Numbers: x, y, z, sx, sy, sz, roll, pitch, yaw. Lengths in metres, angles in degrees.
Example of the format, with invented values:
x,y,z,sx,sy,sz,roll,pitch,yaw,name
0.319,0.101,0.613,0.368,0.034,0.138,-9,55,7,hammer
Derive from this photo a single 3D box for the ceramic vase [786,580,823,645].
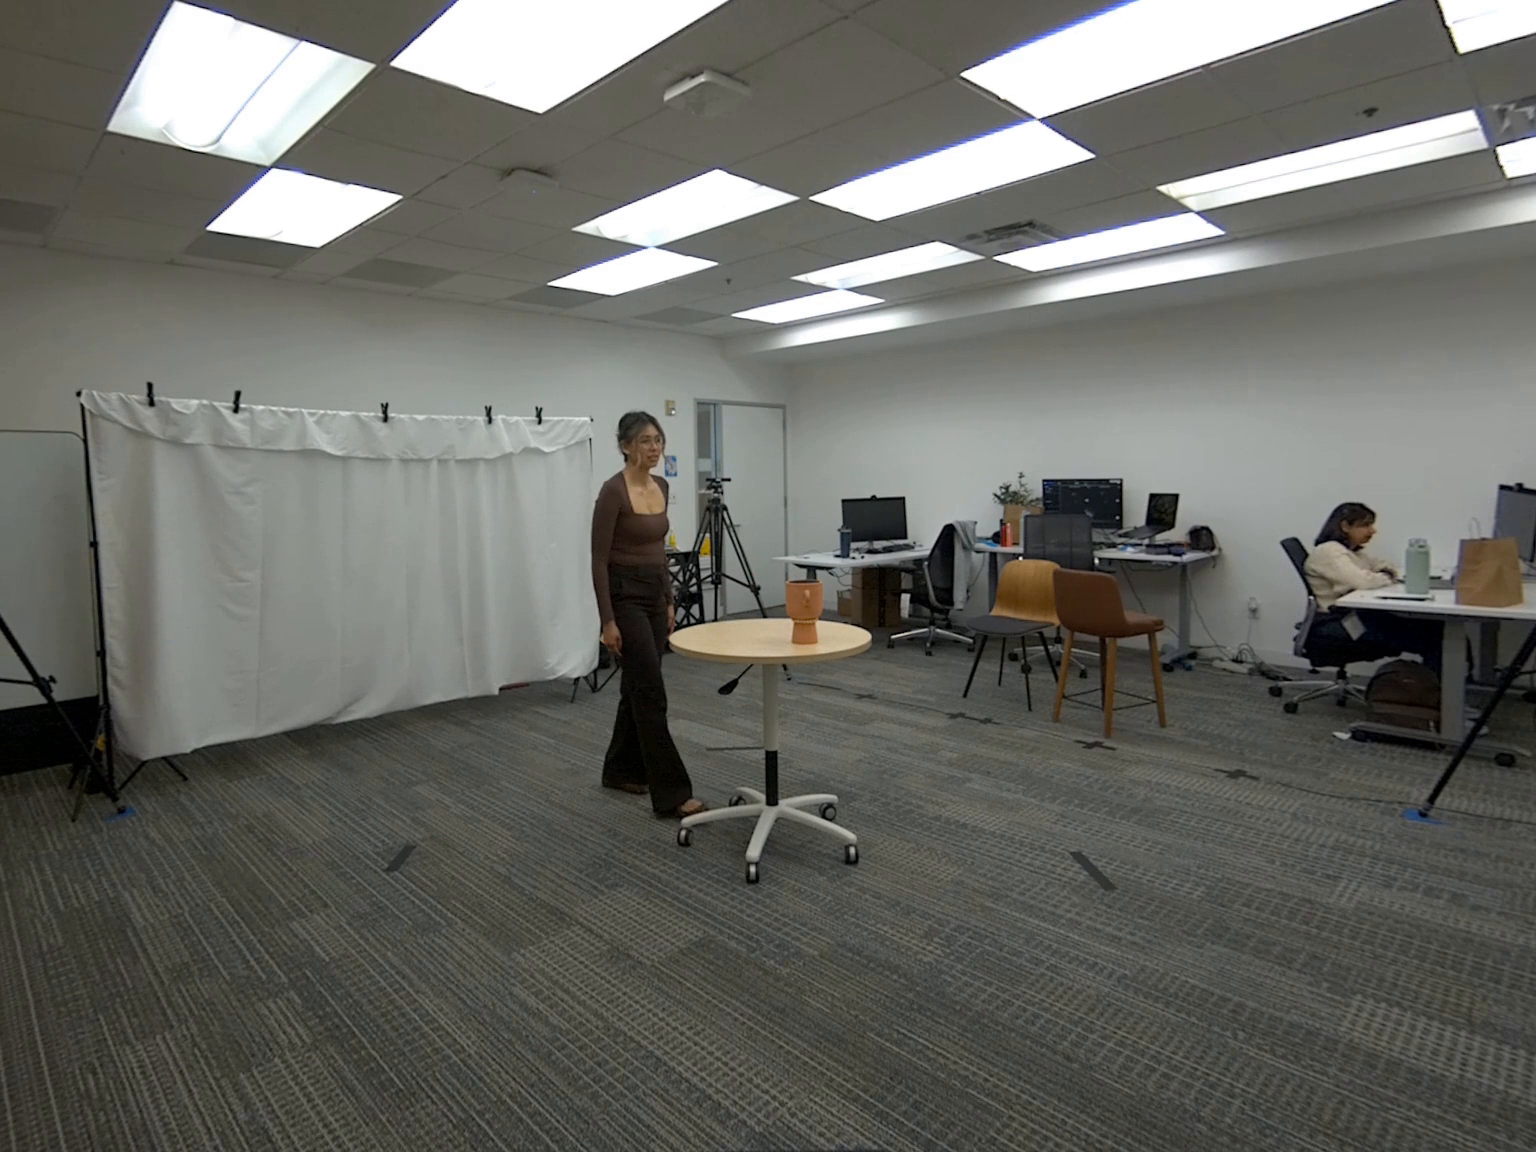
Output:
x,y,z,sx,sy,sz,roll,pitch,yaw,name
0.136,0.132,3.105,0.138,0.219,0.155,3,6,36,ceramic vase
